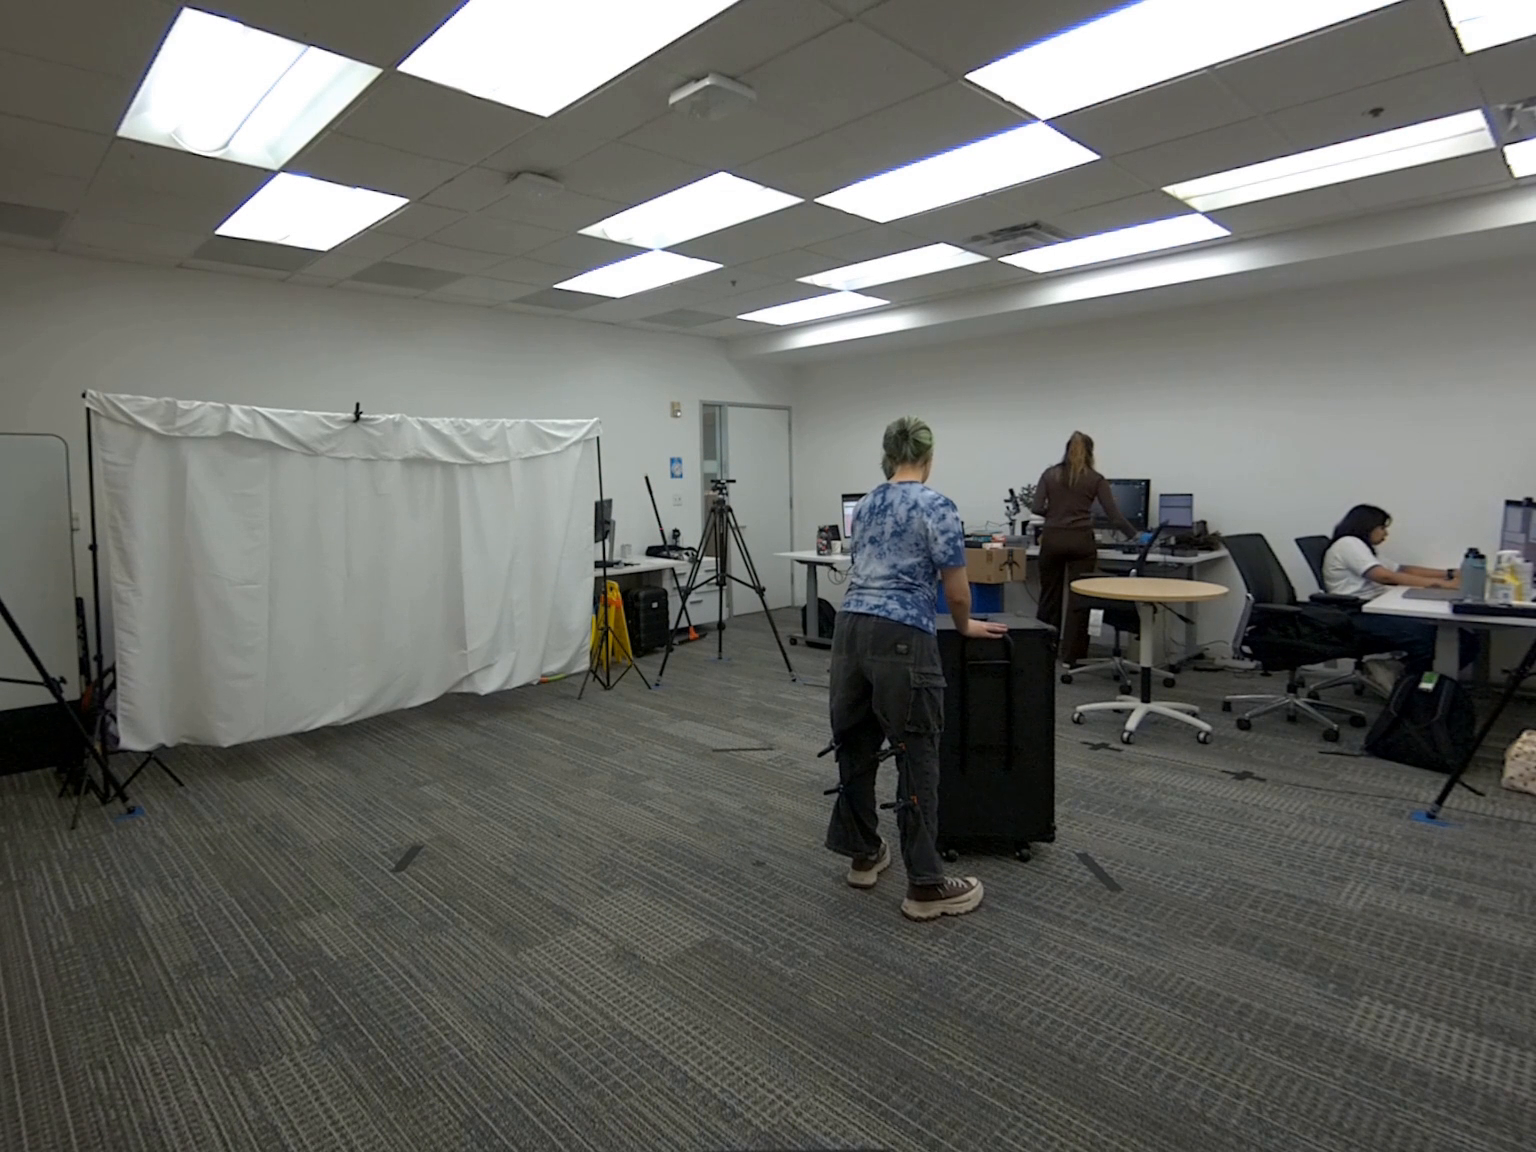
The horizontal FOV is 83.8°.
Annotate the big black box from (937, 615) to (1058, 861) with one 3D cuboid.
[{"bbox_3d":[0.798,0.596,3.233,0.522,0.858,0.397,0,4,0],"label":"big black box"}]
